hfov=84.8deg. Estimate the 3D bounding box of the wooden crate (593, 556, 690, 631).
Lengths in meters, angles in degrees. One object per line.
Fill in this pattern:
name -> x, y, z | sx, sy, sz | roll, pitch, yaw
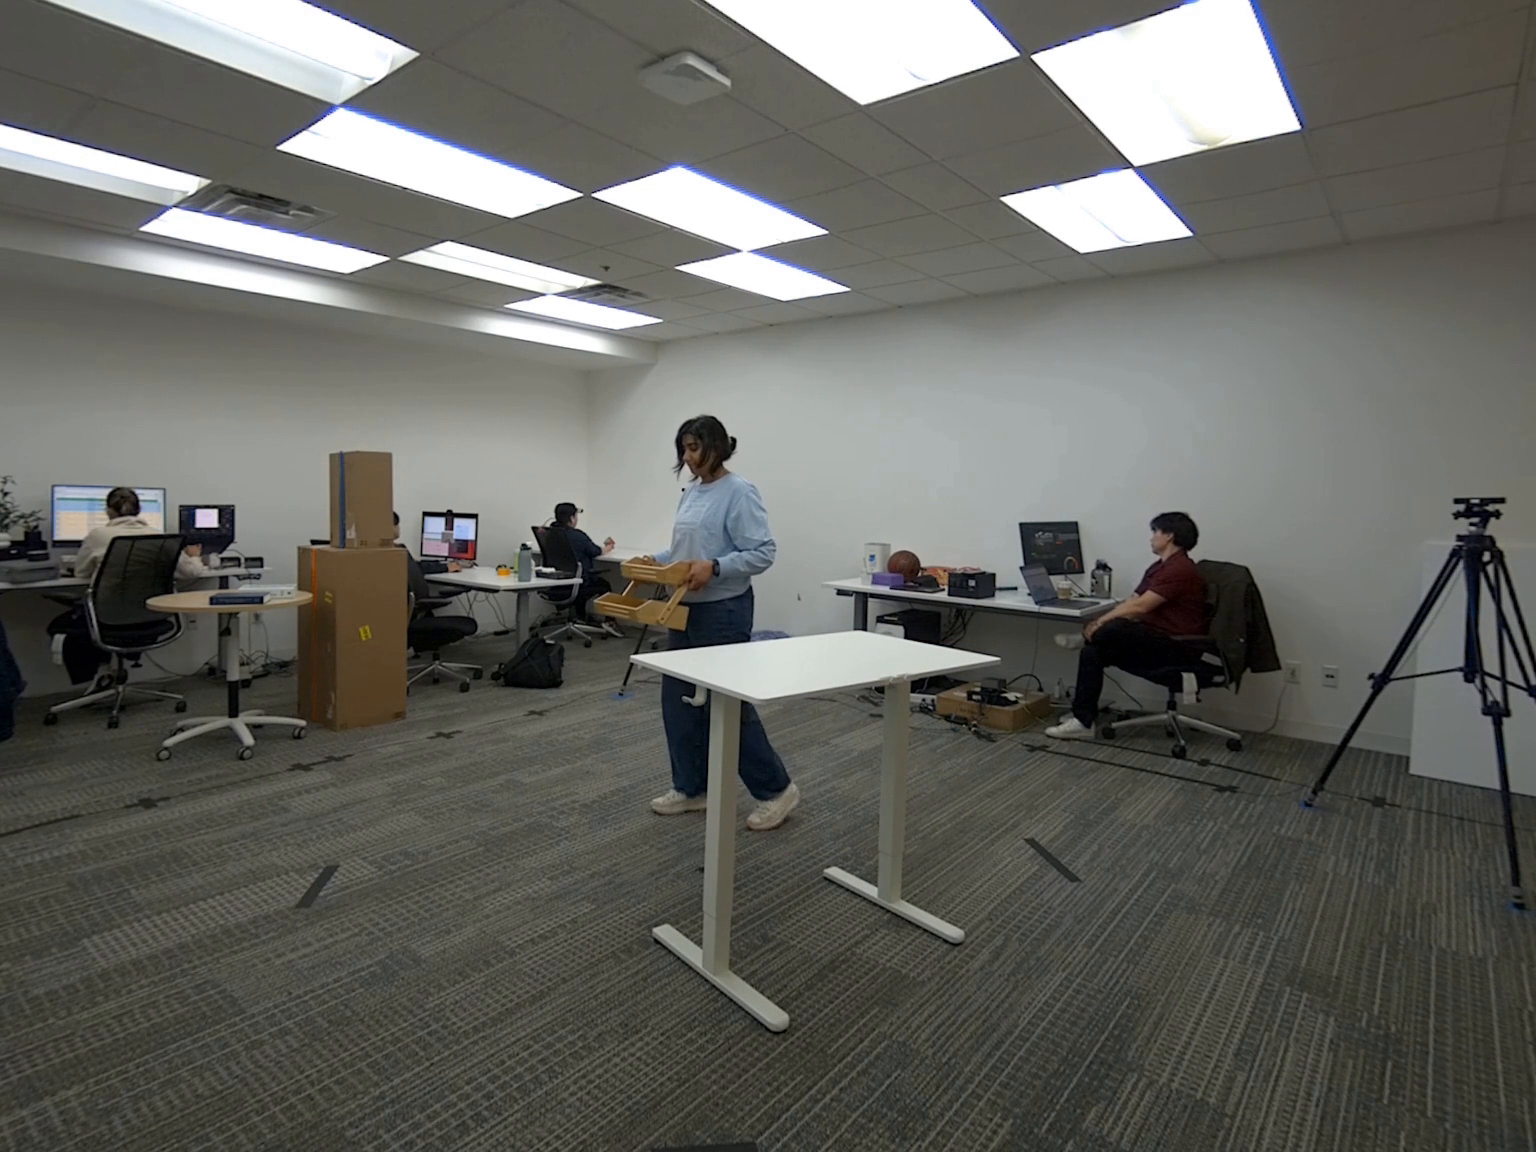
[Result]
wooden crate -> -0.490, 0.049, 3.424 | 0.290, 0.274, 0.336 | 16, -7, -43
